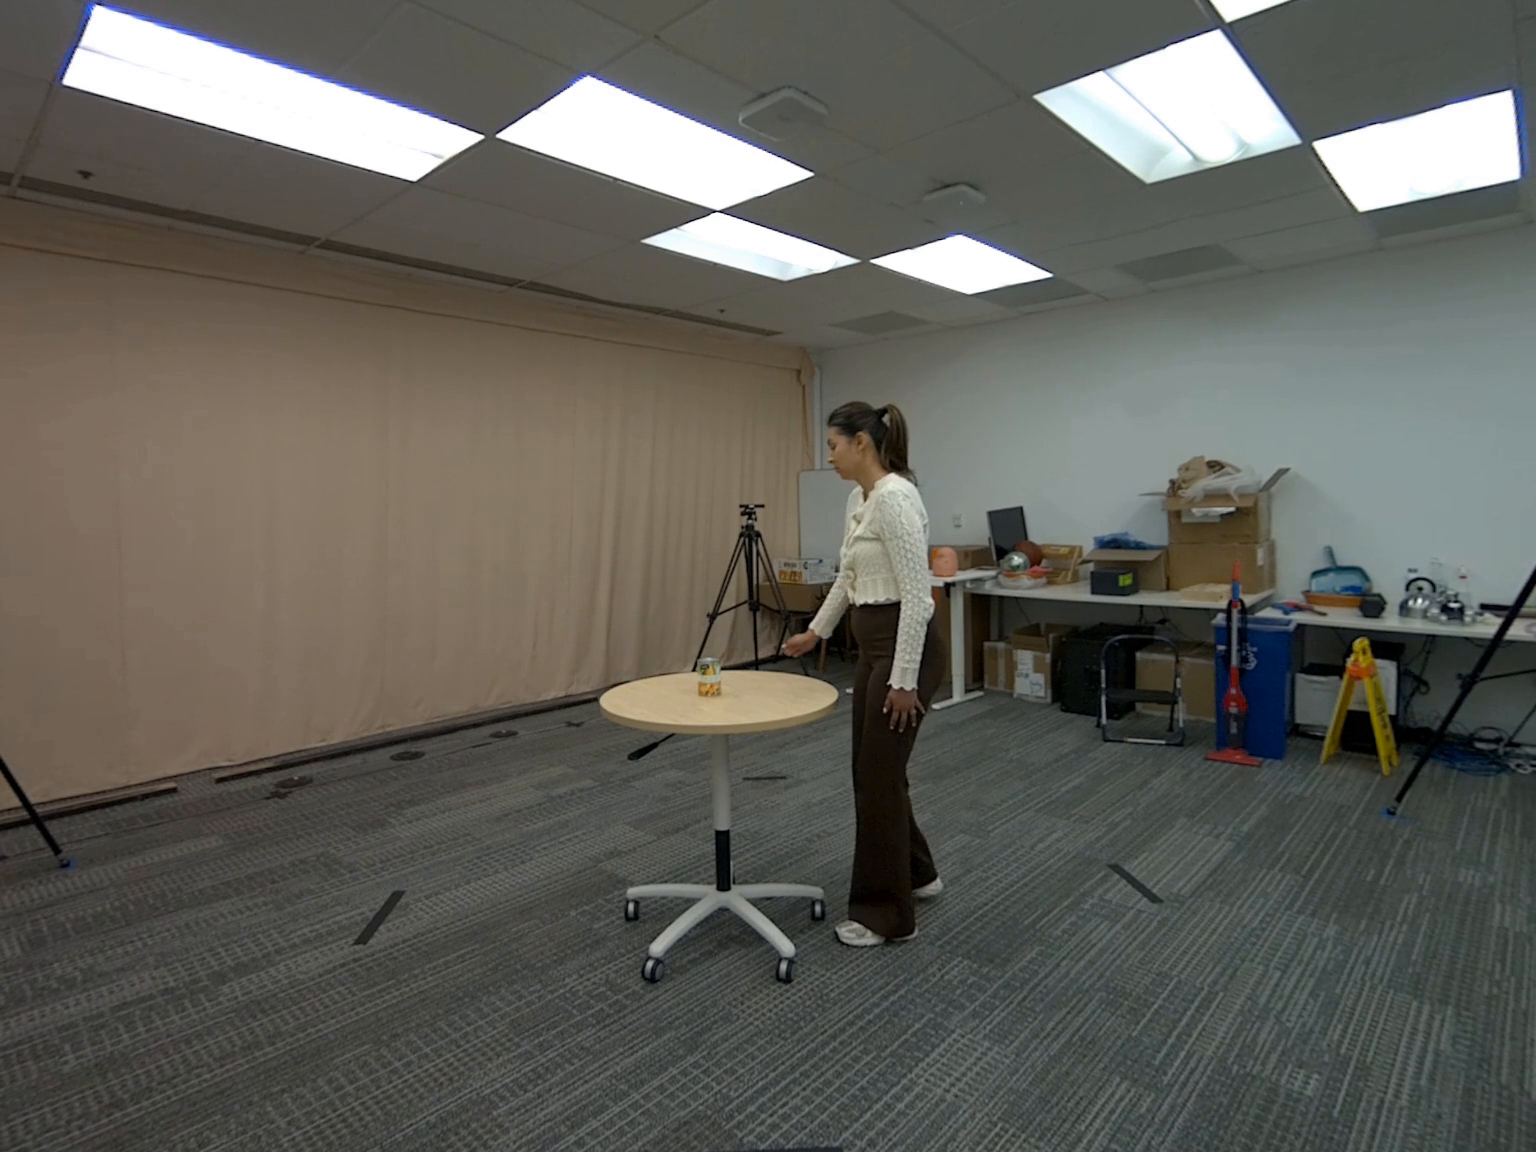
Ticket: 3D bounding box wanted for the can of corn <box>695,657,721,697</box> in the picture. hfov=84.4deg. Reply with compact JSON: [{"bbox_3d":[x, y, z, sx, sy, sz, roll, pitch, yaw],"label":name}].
[{"bbox_3d":[-0.186,0.328,2.718,0.074,0.111,0.074,-4,4,-2],"label":"can of corn"}]
